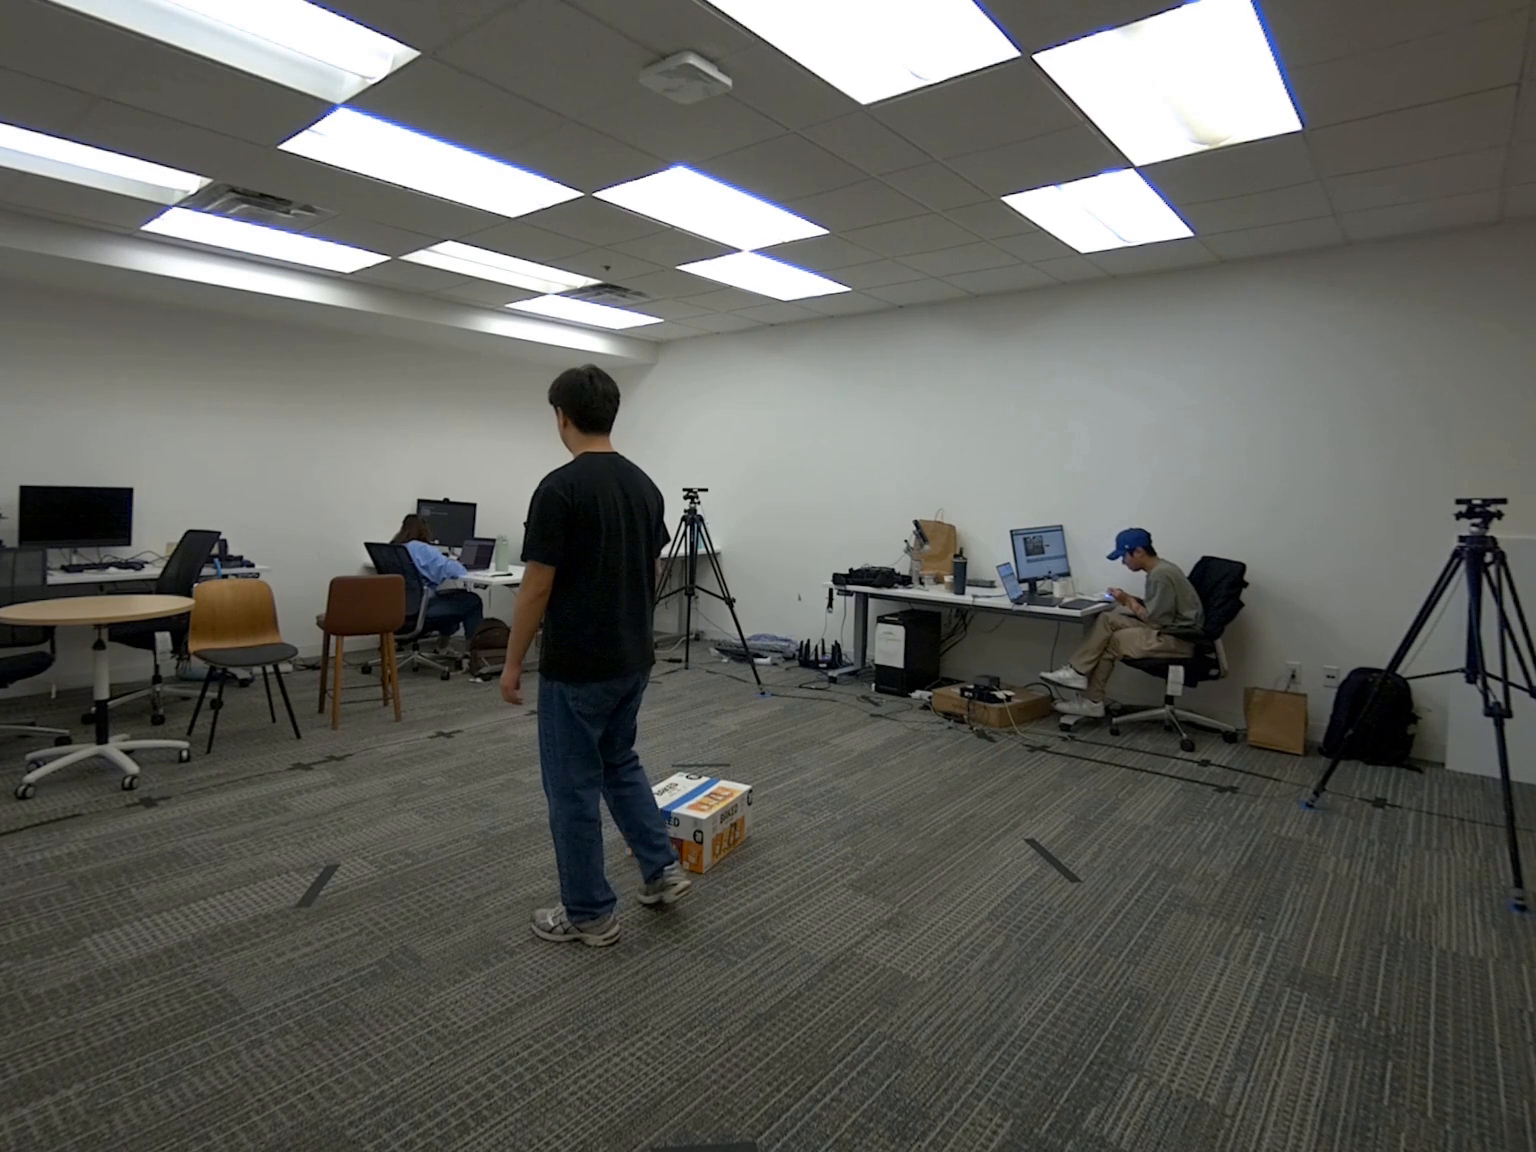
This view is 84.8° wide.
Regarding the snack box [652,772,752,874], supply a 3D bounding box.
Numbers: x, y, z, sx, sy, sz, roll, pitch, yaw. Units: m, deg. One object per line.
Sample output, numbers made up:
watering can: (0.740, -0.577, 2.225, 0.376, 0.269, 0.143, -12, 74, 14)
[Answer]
snack box: (-0.310, 0.946, 3.316, 0.349, 0.205, 0.396, 3, 6, 26)
